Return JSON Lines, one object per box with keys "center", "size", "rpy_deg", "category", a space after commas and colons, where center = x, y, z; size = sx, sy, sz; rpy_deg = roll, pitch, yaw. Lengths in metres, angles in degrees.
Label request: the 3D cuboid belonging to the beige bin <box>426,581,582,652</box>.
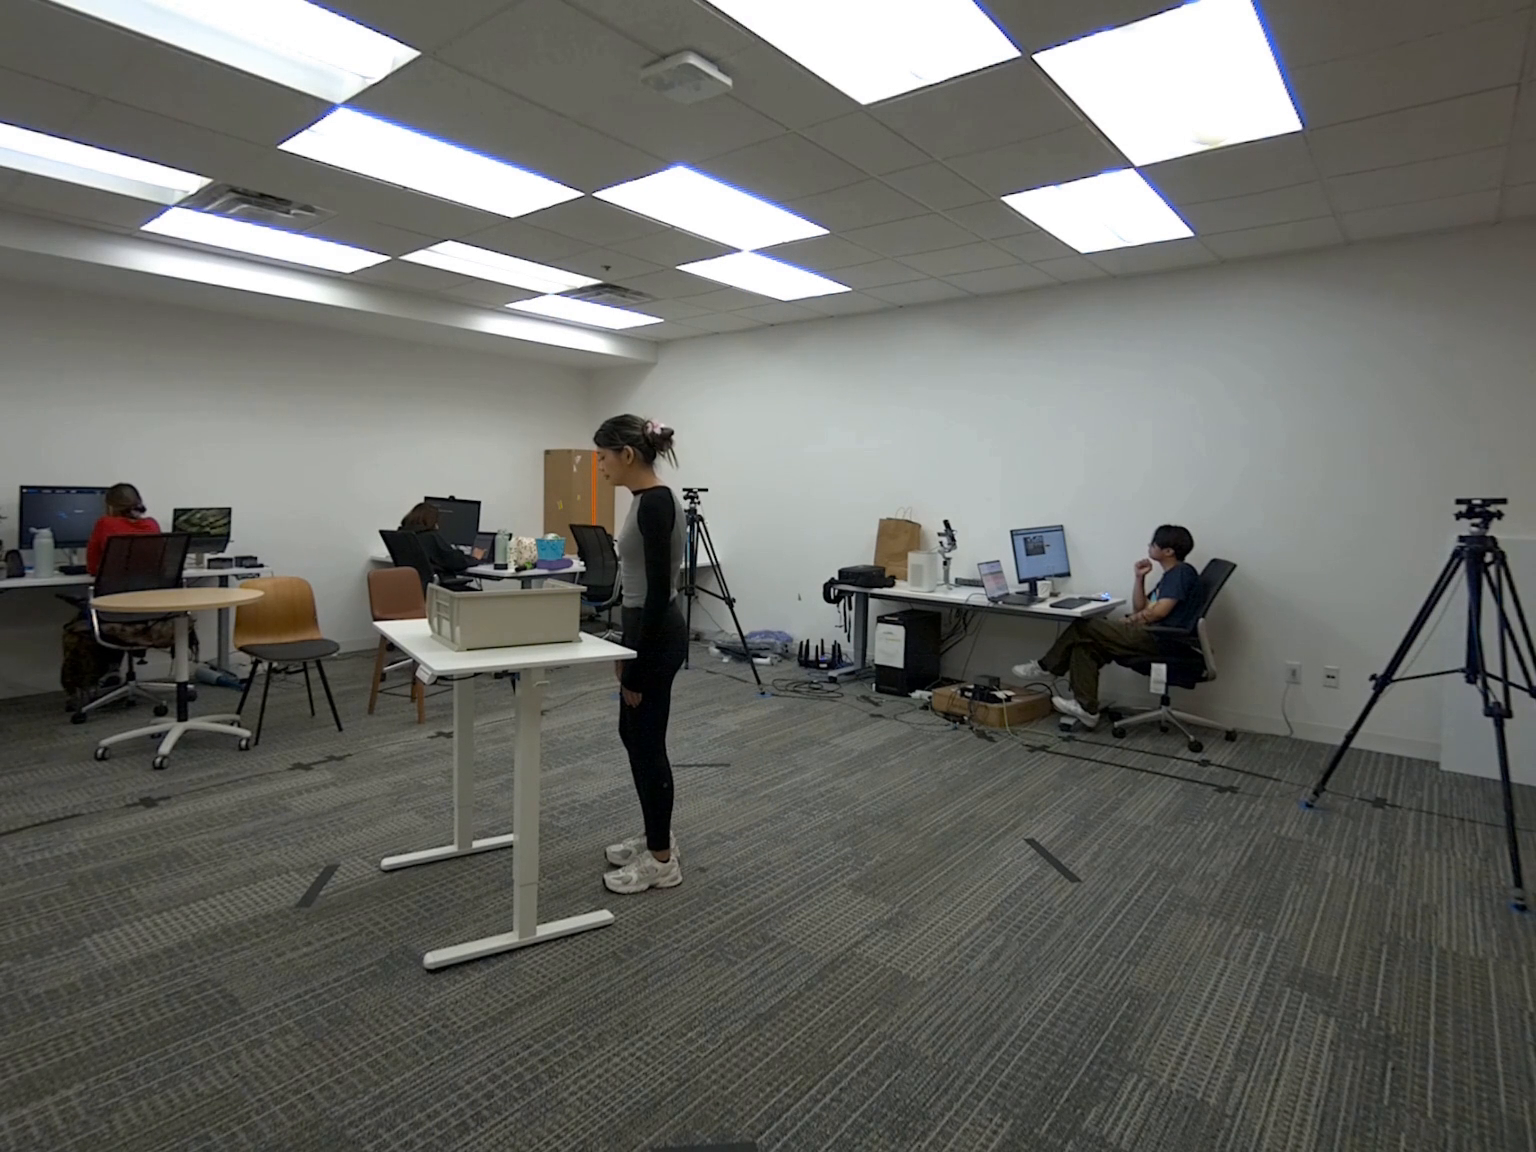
{"center": [-0.883, 0.120, 2.805], "size": [0.410, 0.188, 0.389], "rpy_deg": [-2, 6, -34], "category": "beige bin"}
